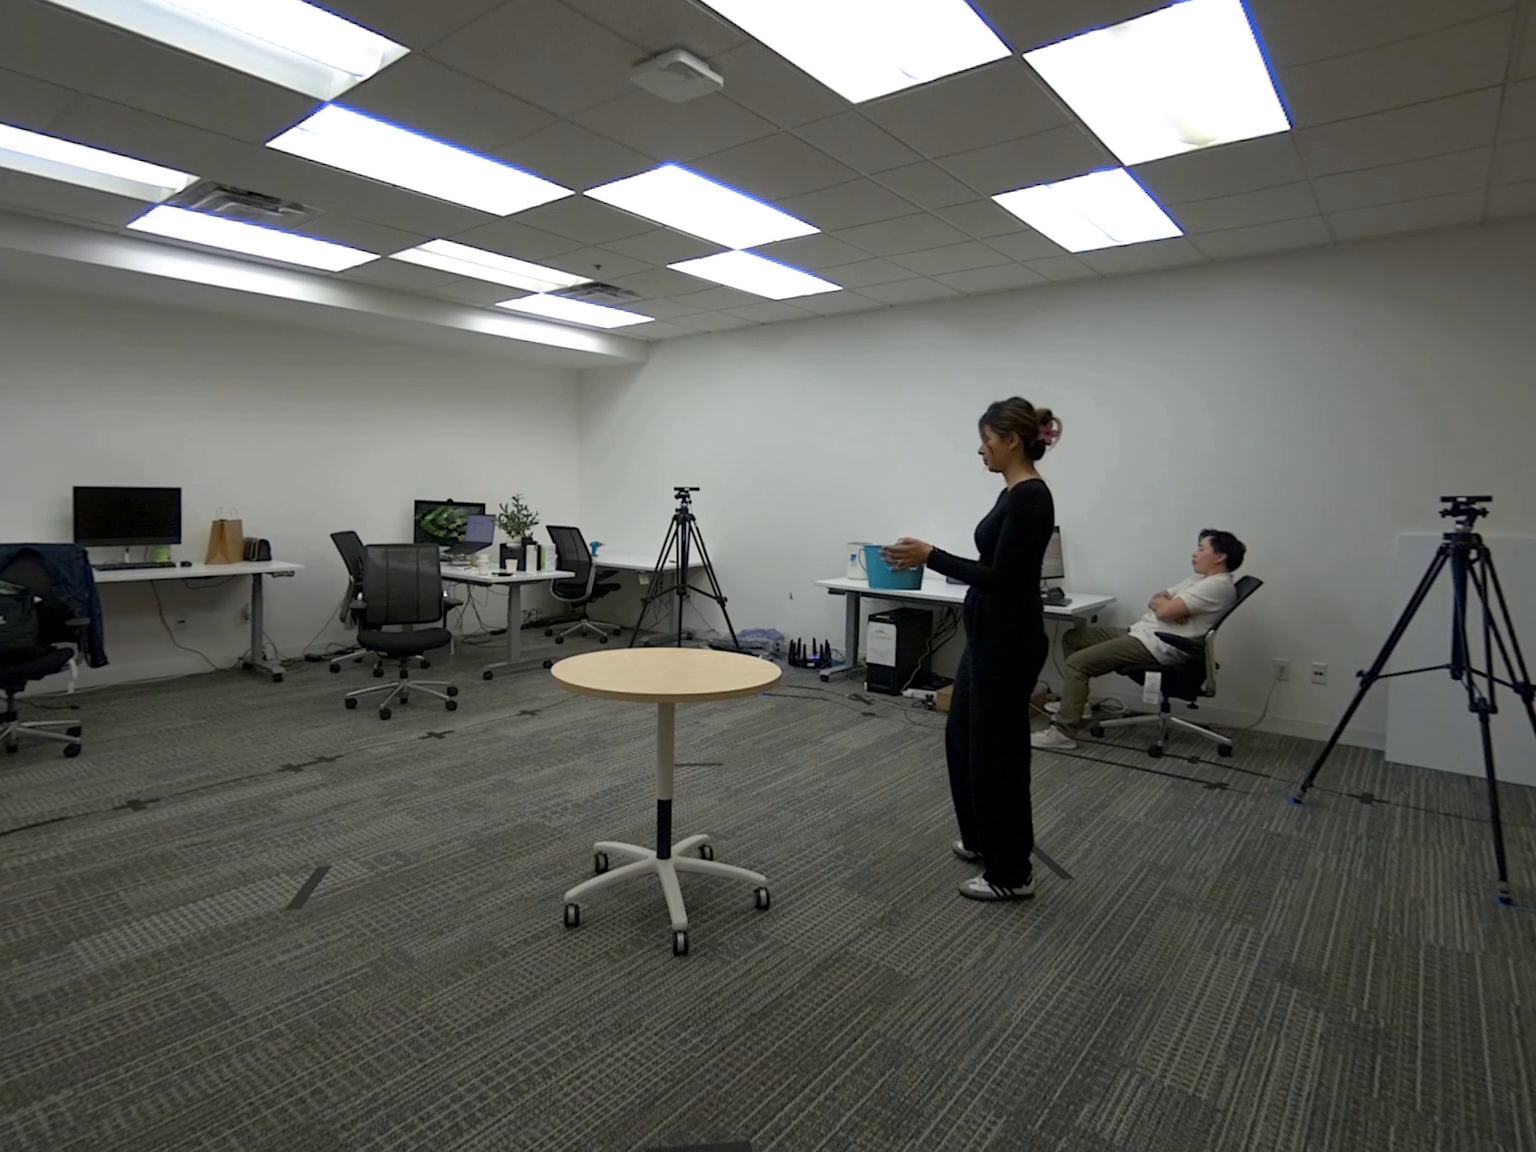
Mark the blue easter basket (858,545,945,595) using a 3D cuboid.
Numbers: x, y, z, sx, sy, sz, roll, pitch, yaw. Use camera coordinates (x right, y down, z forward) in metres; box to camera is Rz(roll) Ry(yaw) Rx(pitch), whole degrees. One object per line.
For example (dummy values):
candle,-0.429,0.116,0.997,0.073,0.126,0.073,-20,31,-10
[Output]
blue easter basket,0.464,-0.026,2.971,0.243,0.156,0.244,3,0,-2
